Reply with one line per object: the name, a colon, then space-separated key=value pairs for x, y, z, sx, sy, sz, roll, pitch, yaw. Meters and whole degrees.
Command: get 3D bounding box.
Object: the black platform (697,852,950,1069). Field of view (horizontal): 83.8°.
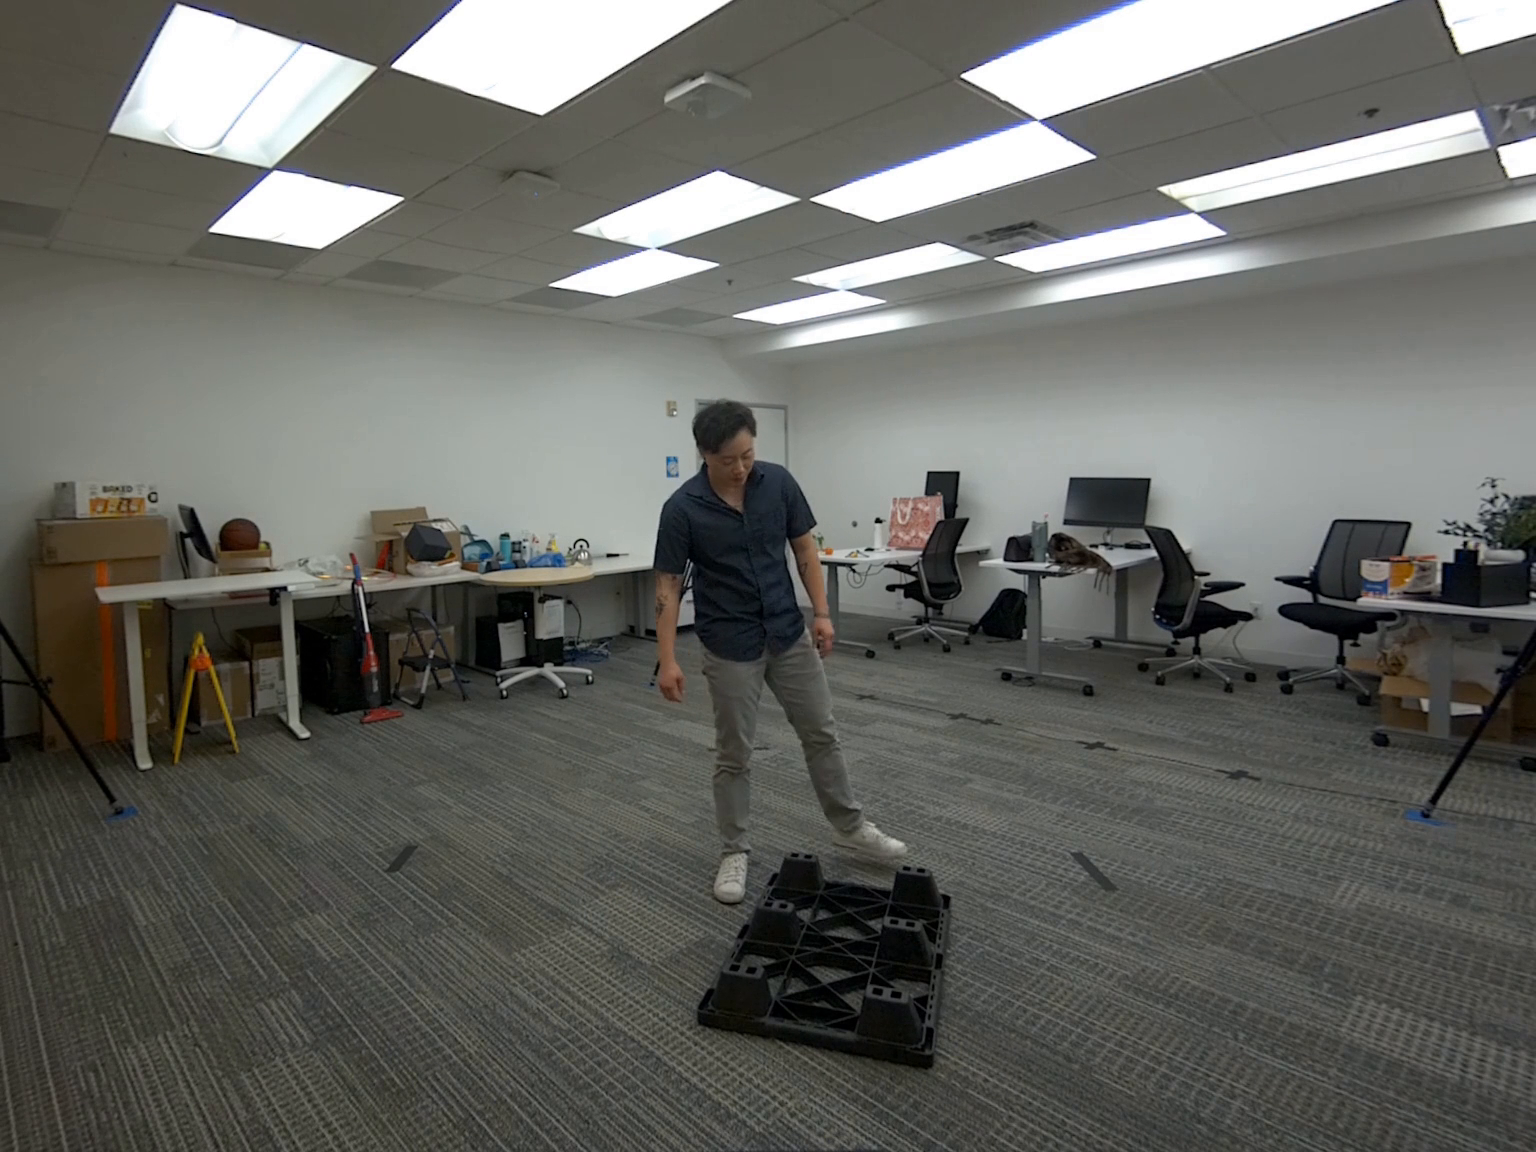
black platform: x=0.213 y=1.049 z=2.469 sx=0.615 sy=0.142 sz=0.797 roll=0 pitch=7 yaw=16
